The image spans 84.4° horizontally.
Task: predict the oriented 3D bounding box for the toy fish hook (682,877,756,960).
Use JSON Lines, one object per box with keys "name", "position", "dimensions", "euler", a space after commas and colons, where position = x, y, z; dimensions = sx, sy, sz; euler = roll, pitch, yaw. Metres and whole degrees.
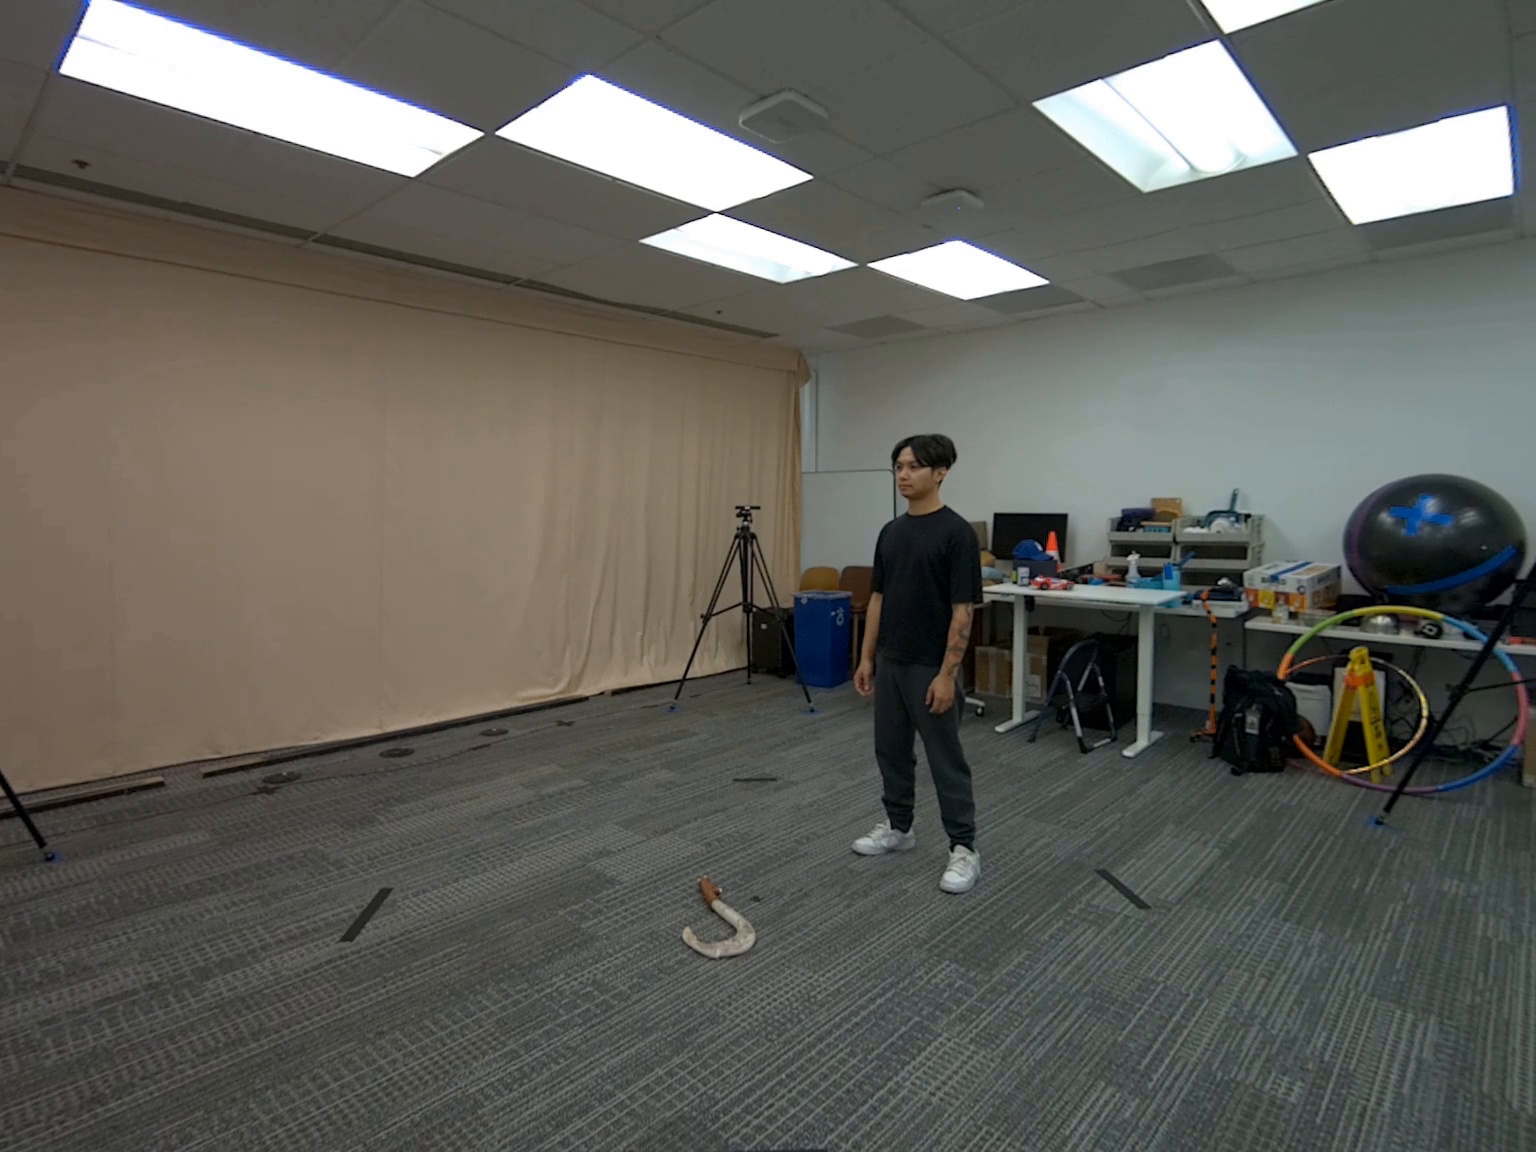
{"name": "toy fish hook", "position": [-0.202, 1.135, 2.826], "dimensions": [0.220, 0.048, 0.517], "euler": [-1, 4, -19]}
